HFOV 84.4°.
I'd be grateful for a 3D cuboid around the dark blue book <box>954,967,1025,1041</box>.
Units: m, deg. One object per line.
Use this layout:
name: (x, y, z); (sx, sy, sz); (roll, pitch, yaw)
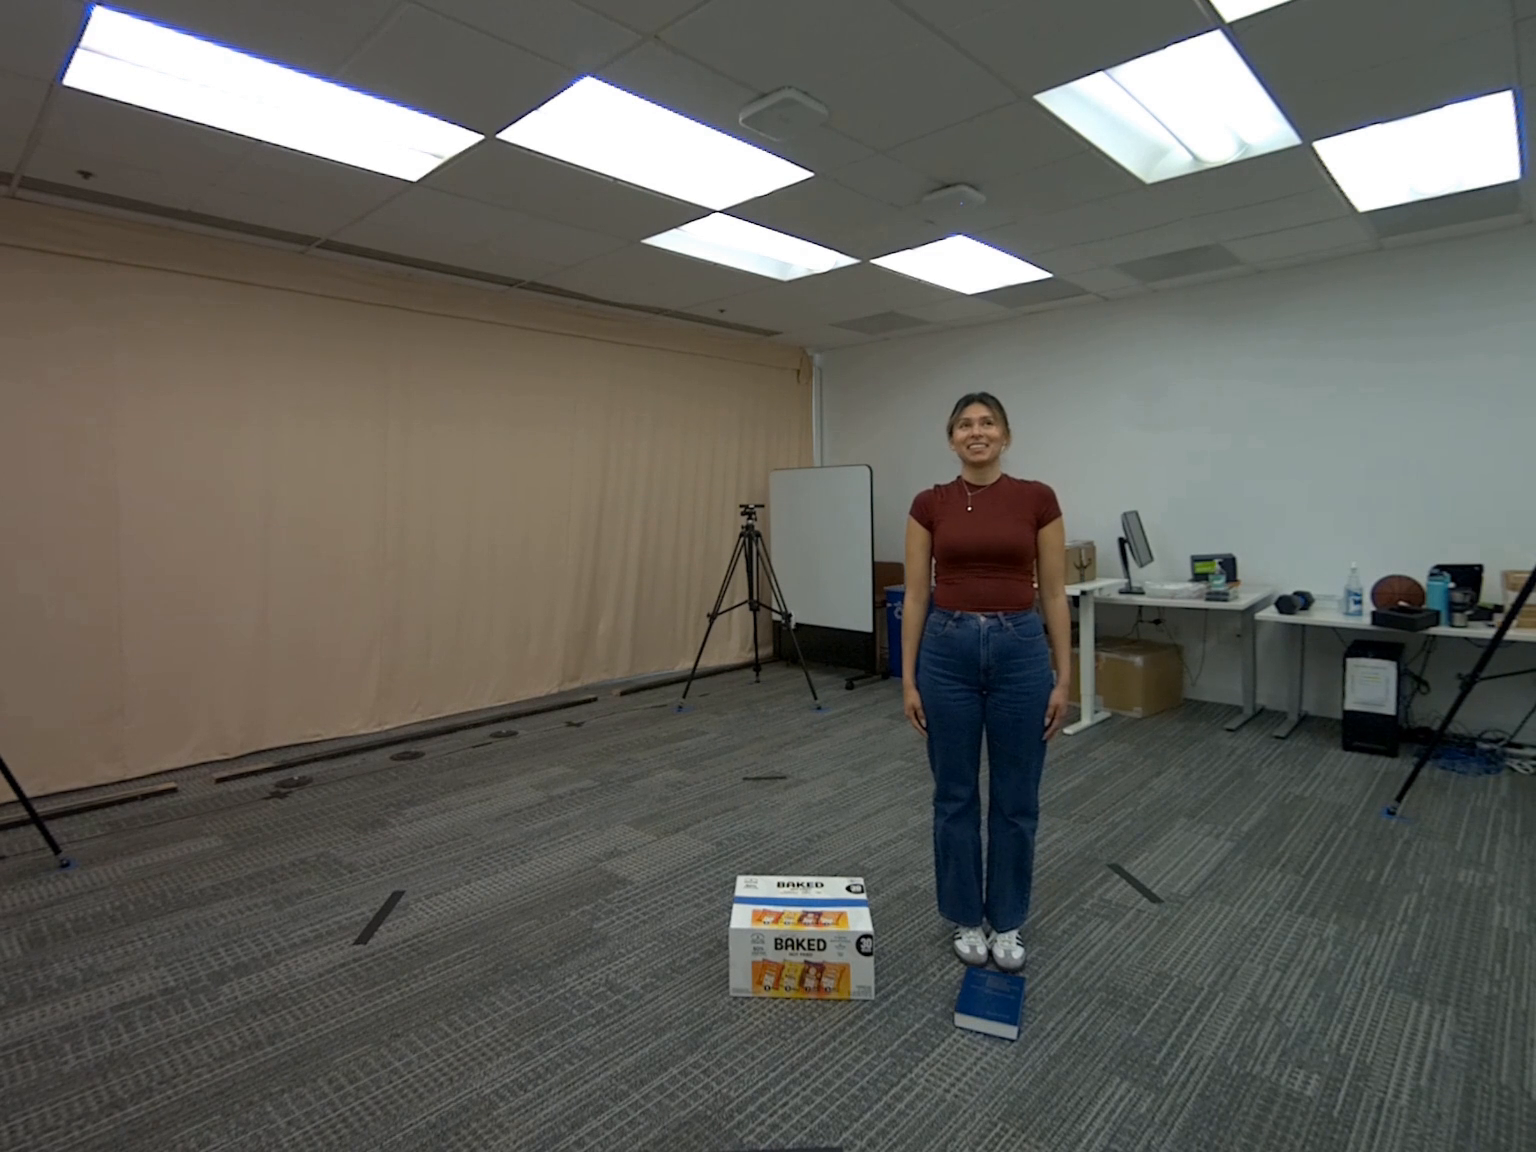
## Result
dark blue book: (0.623, 1.167, 2.303); (0.167, 0.045, 0.239); (2, 4, 24)
